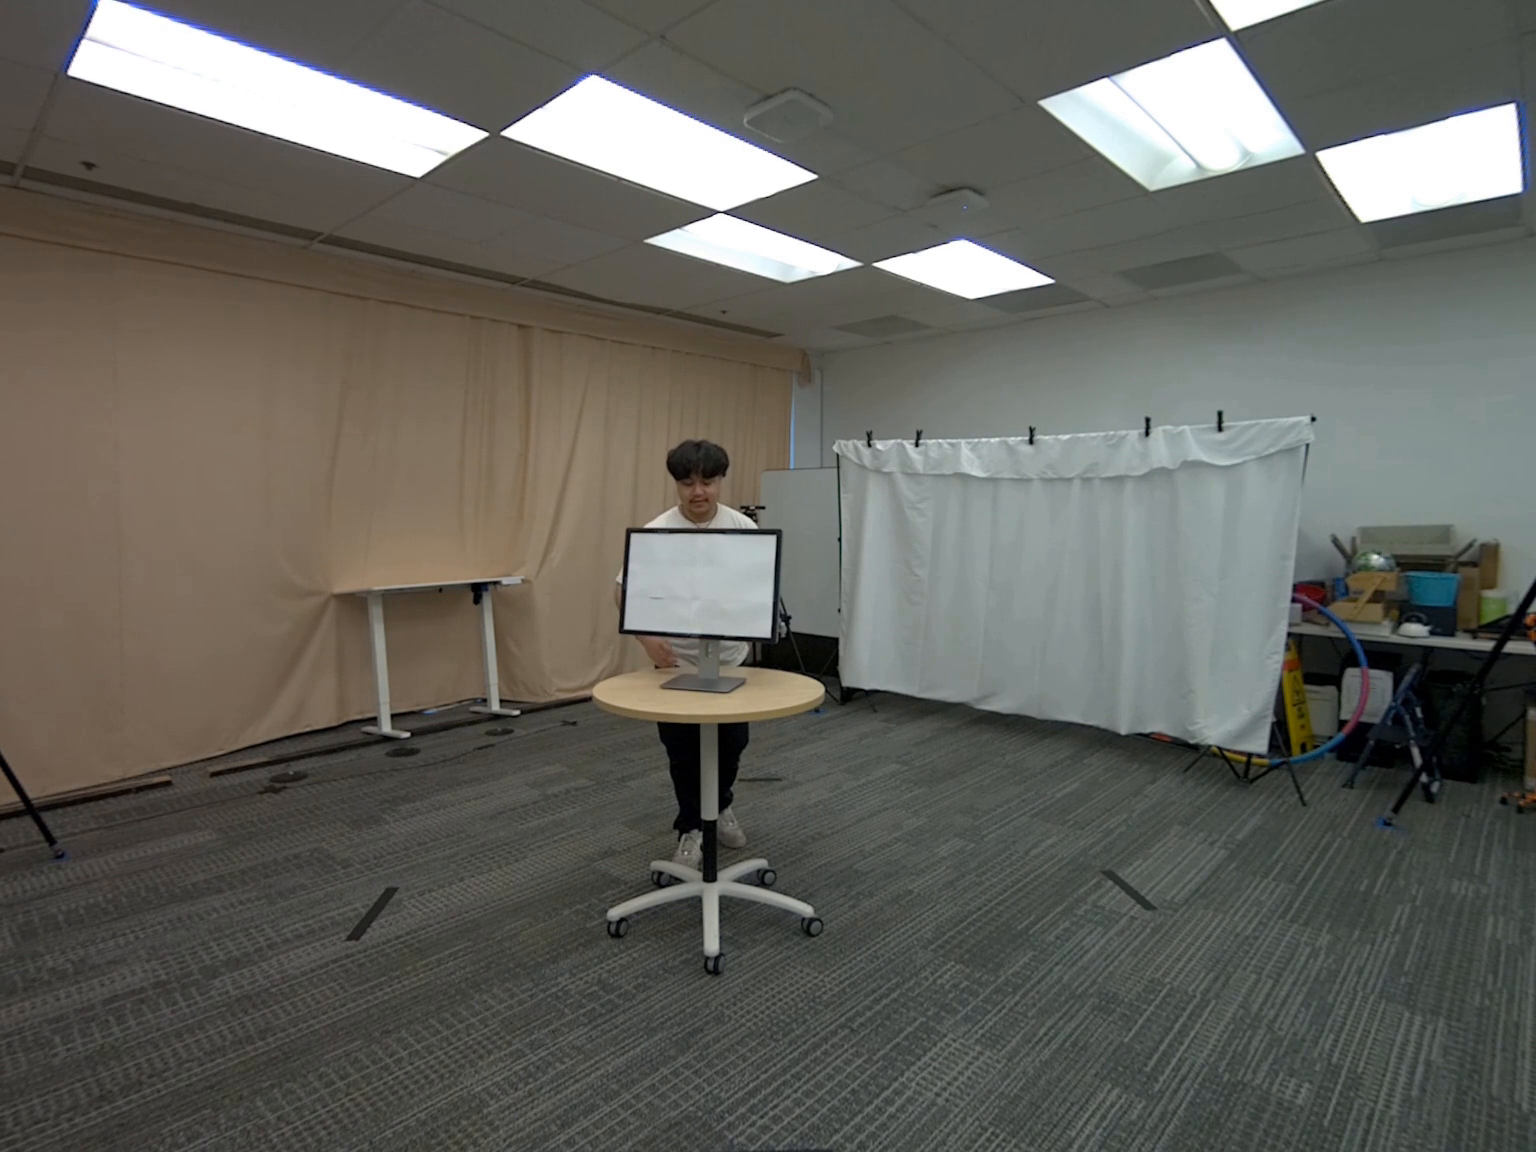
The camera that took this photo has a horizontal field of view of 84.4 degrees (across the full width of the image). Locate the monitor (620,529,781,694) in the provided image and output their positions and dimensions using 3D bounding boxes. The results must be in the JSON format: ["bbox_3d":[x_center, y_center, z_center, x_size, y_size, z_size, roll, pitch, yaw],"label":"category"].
[{"bbox_3d":[-0.202,0.110,2.838,0.578,0.554,0.205,1,-1,21],"label":"monitor"}]
